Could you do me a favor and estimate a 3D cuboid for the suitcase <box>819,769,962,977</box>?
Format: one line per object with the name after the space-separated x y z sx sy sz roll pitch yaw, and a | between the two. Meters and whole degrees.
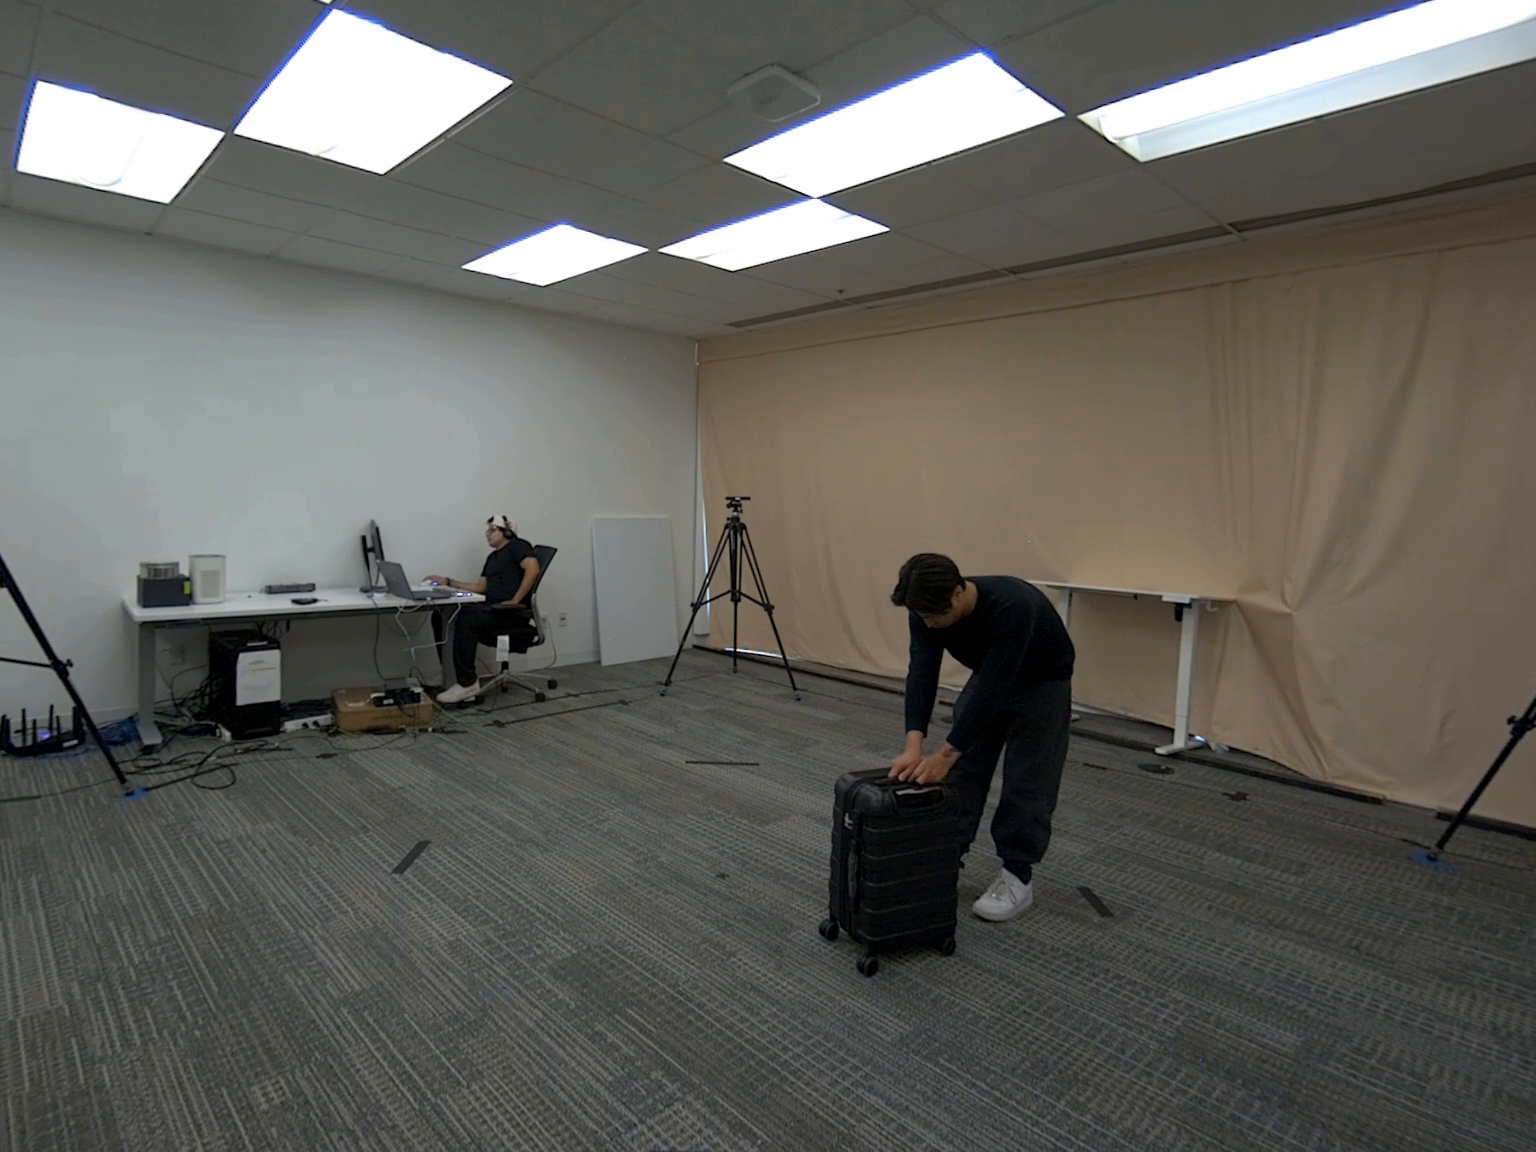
0.388 0.887 2.635 0.368 0.548 0.253 1 2 -26 | suitcase
